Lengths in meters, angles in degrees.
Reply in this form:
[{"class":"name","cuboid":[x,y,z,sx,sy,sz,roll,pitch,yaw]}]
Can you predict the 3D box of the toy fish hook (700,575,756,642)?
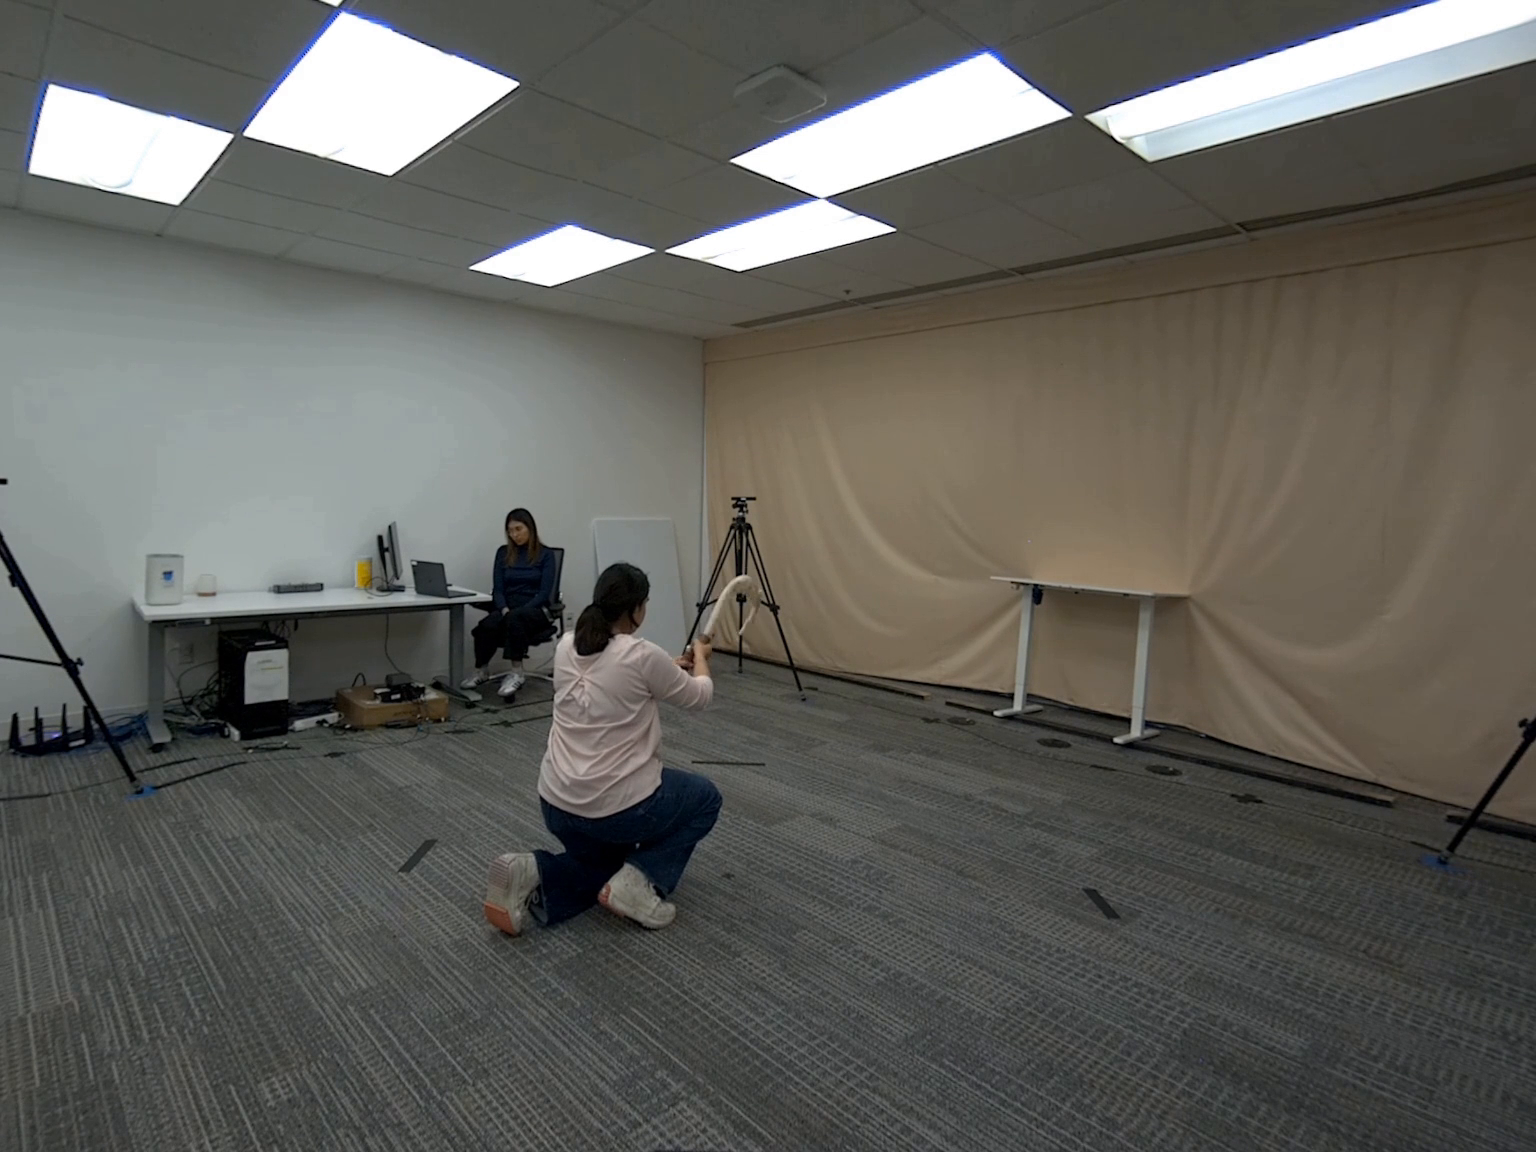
[{"class":"toy fish hook","cuboid":[-0.193,0.226,3.275,0.049,0.508,0.218,8,-34,50]}]
